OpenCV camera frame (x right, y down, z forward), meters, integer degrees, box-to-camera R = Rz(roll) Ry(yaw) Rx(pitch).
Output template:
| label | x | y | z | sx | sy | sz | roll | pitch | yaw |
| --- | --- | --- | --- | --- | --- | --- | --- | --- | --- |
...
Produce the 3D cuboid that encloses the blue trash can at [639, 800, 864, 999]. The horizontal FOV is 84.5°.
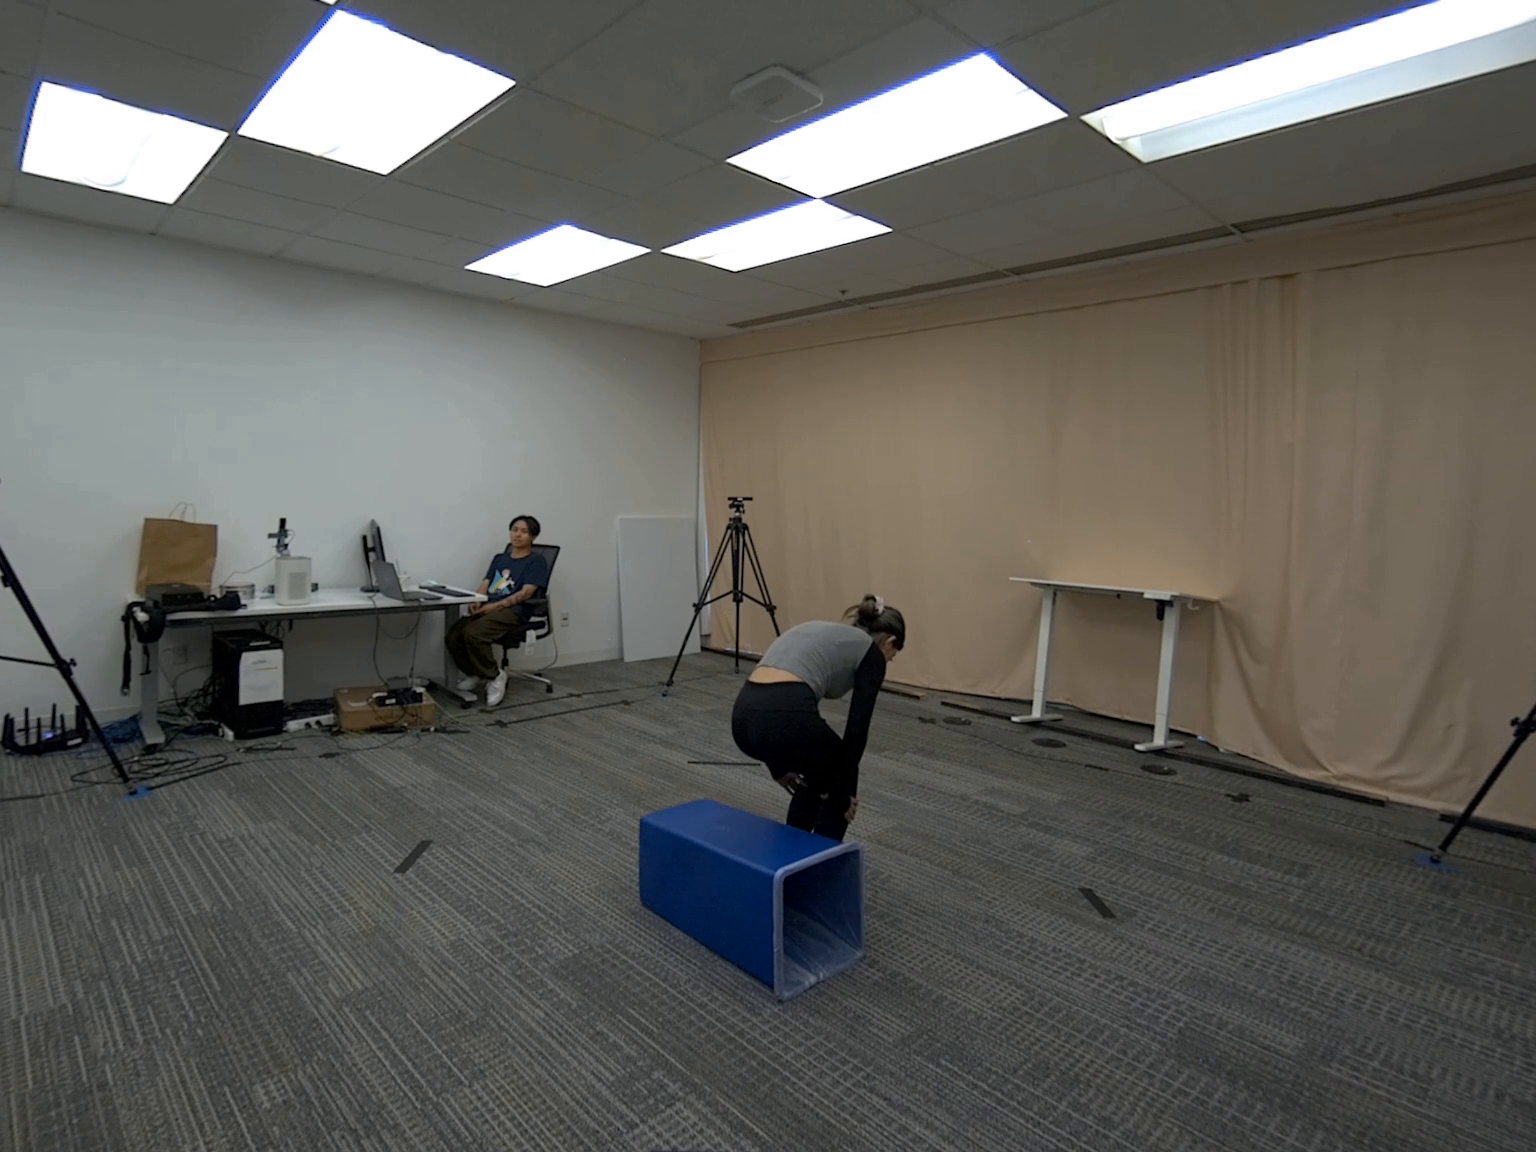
| label | x | y | z | sx | sy | sz | roll | pitch | yaw |
| --- | --- | --- | --- | --- | --- | --- | --- | --- | --- |
| blue trash can | -0.094 | 0.973 | 2.697 | 0.369 | 0.373 | 0.731 | -4 | 5 | -43 |
